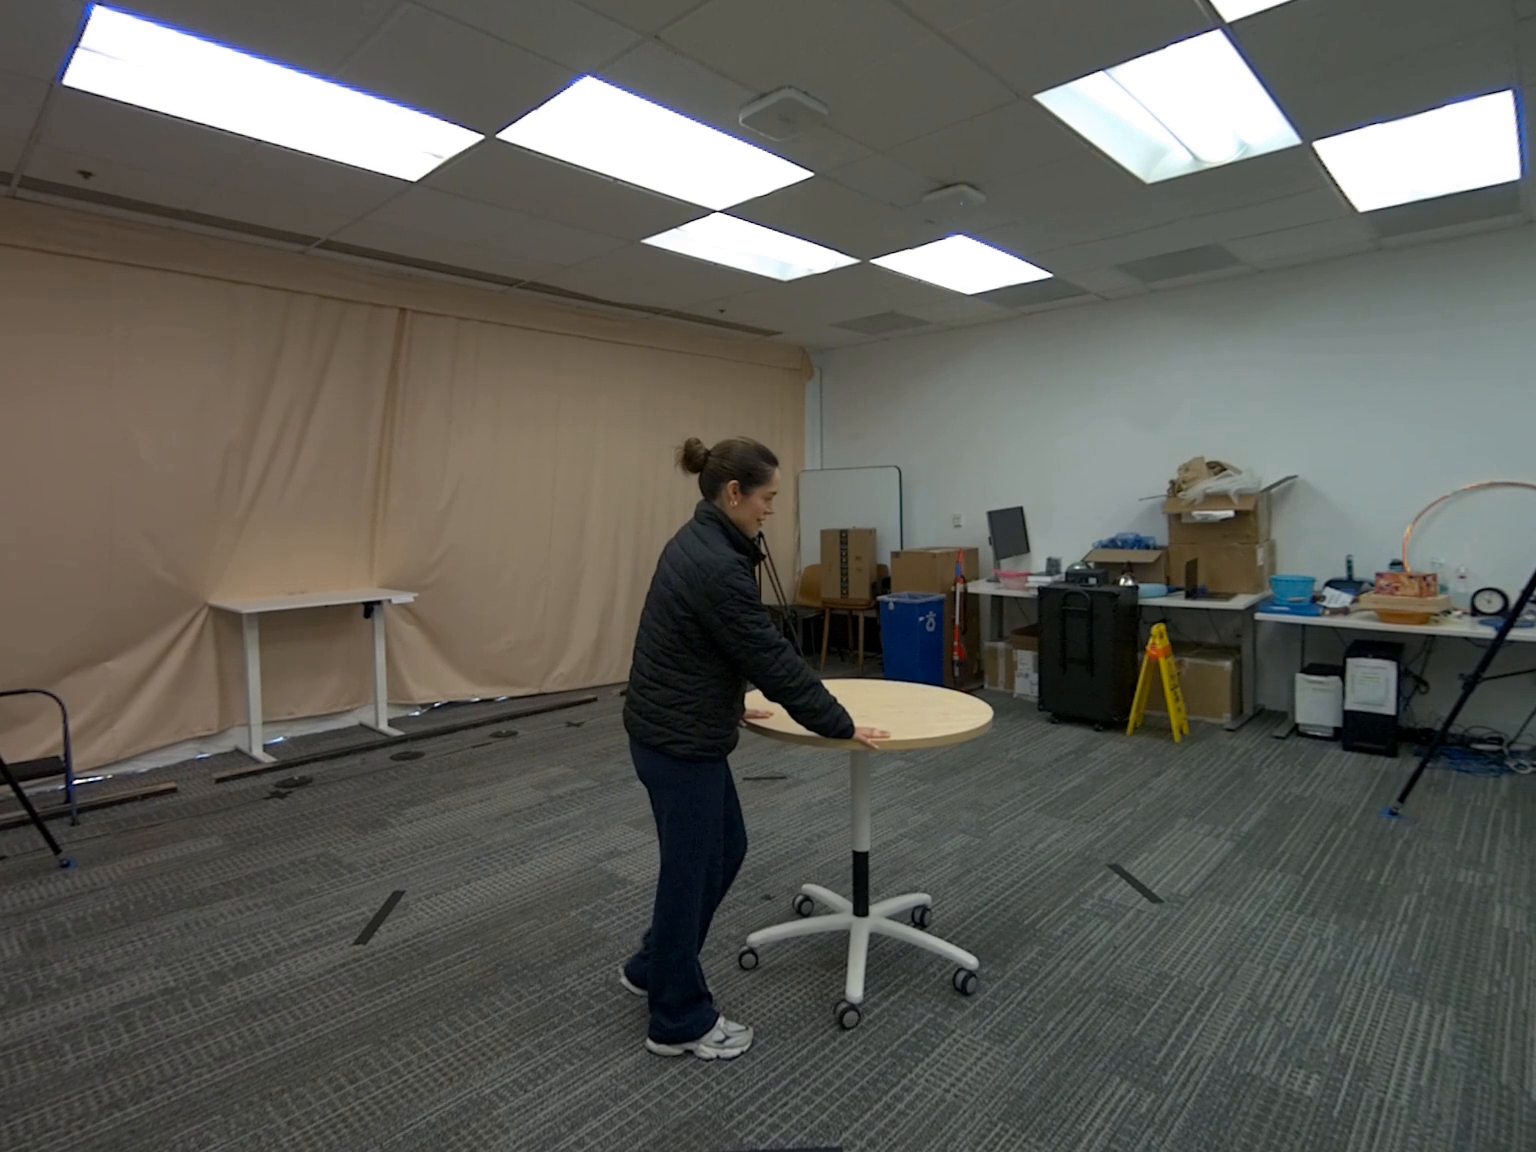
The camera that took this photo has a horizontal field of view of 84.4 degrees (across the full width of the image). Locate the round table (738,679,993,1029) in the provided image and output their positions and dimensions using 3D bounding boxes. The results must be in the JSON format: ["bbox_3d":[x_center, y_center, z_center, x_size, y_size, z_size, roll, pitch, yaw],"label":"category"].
[{"bbox_3d":[0.292,0.779,2.548,0.784,0.785,0.788,-1,4,-2],"label":"round table"}]
